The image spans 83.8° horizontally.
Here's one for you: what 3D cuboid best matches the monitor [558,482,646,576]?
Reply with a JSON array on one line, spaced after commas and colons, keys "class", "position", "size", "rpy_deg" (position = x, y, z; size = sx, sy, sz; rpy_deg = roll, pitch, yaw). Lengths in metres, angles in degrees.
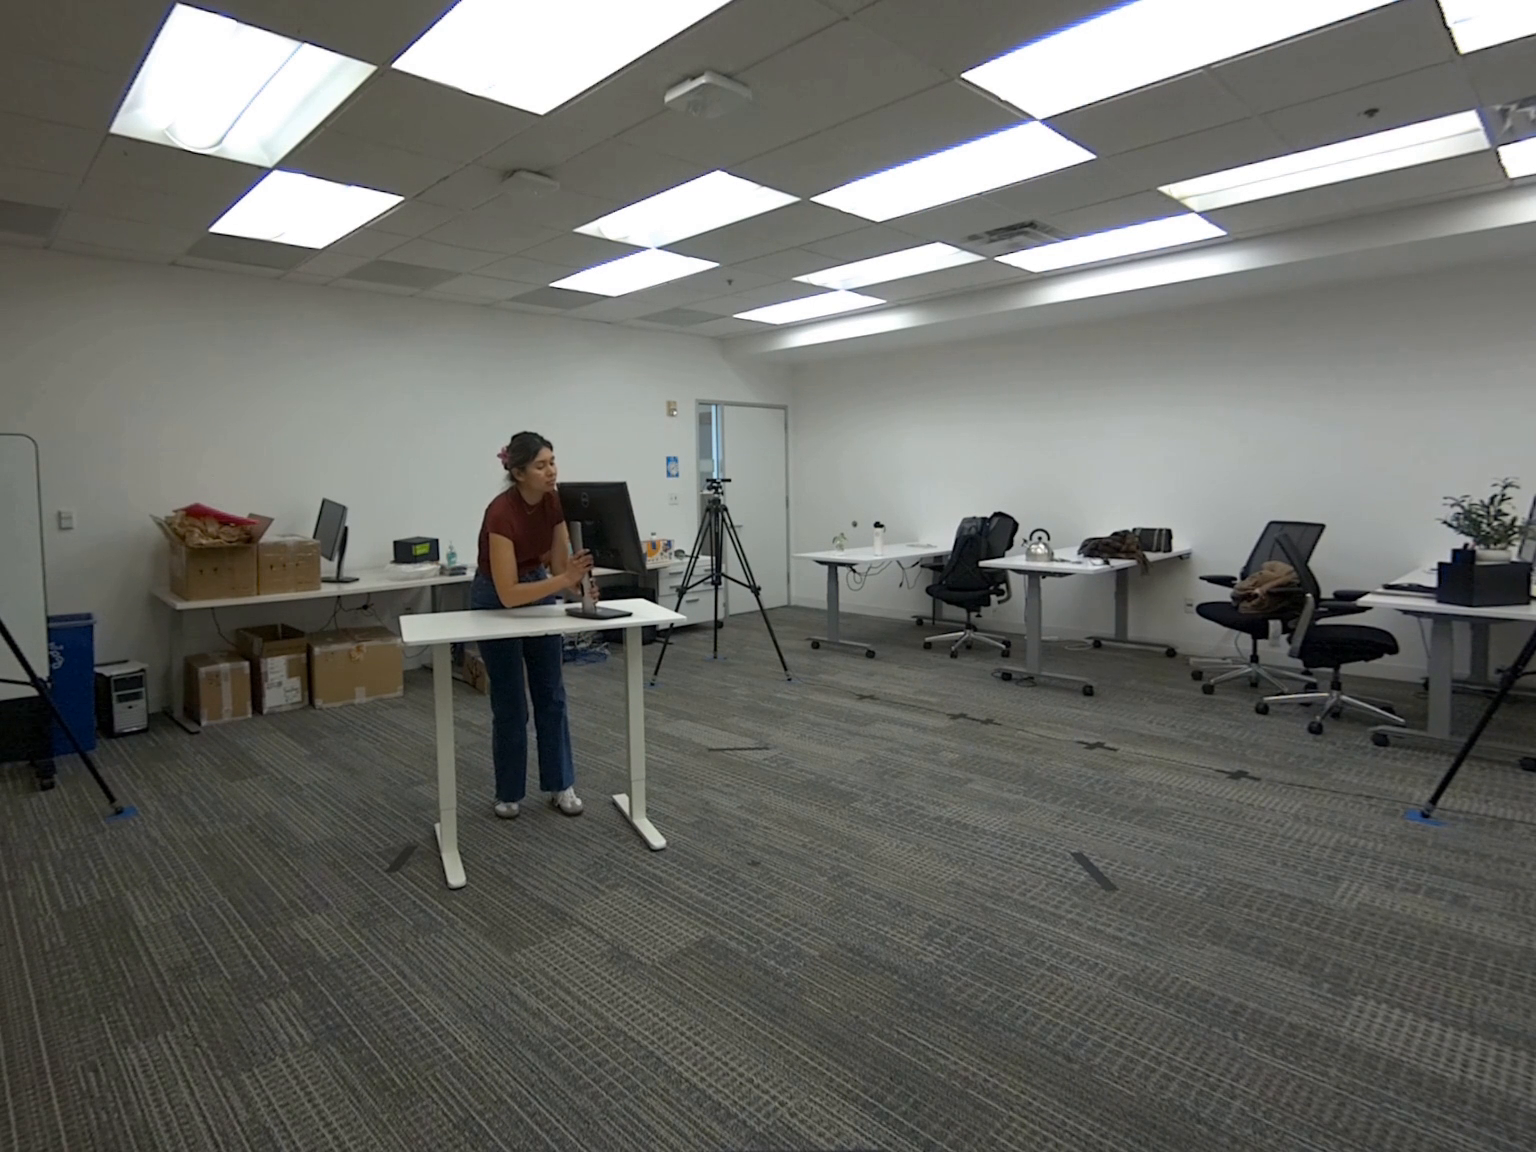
[{"class": "monitor", "position": [-0.677, -0.101, 3.311], "size": [0.182, 0.520, 0.556], "rpy_deg": [-5, 6, -40]}]
